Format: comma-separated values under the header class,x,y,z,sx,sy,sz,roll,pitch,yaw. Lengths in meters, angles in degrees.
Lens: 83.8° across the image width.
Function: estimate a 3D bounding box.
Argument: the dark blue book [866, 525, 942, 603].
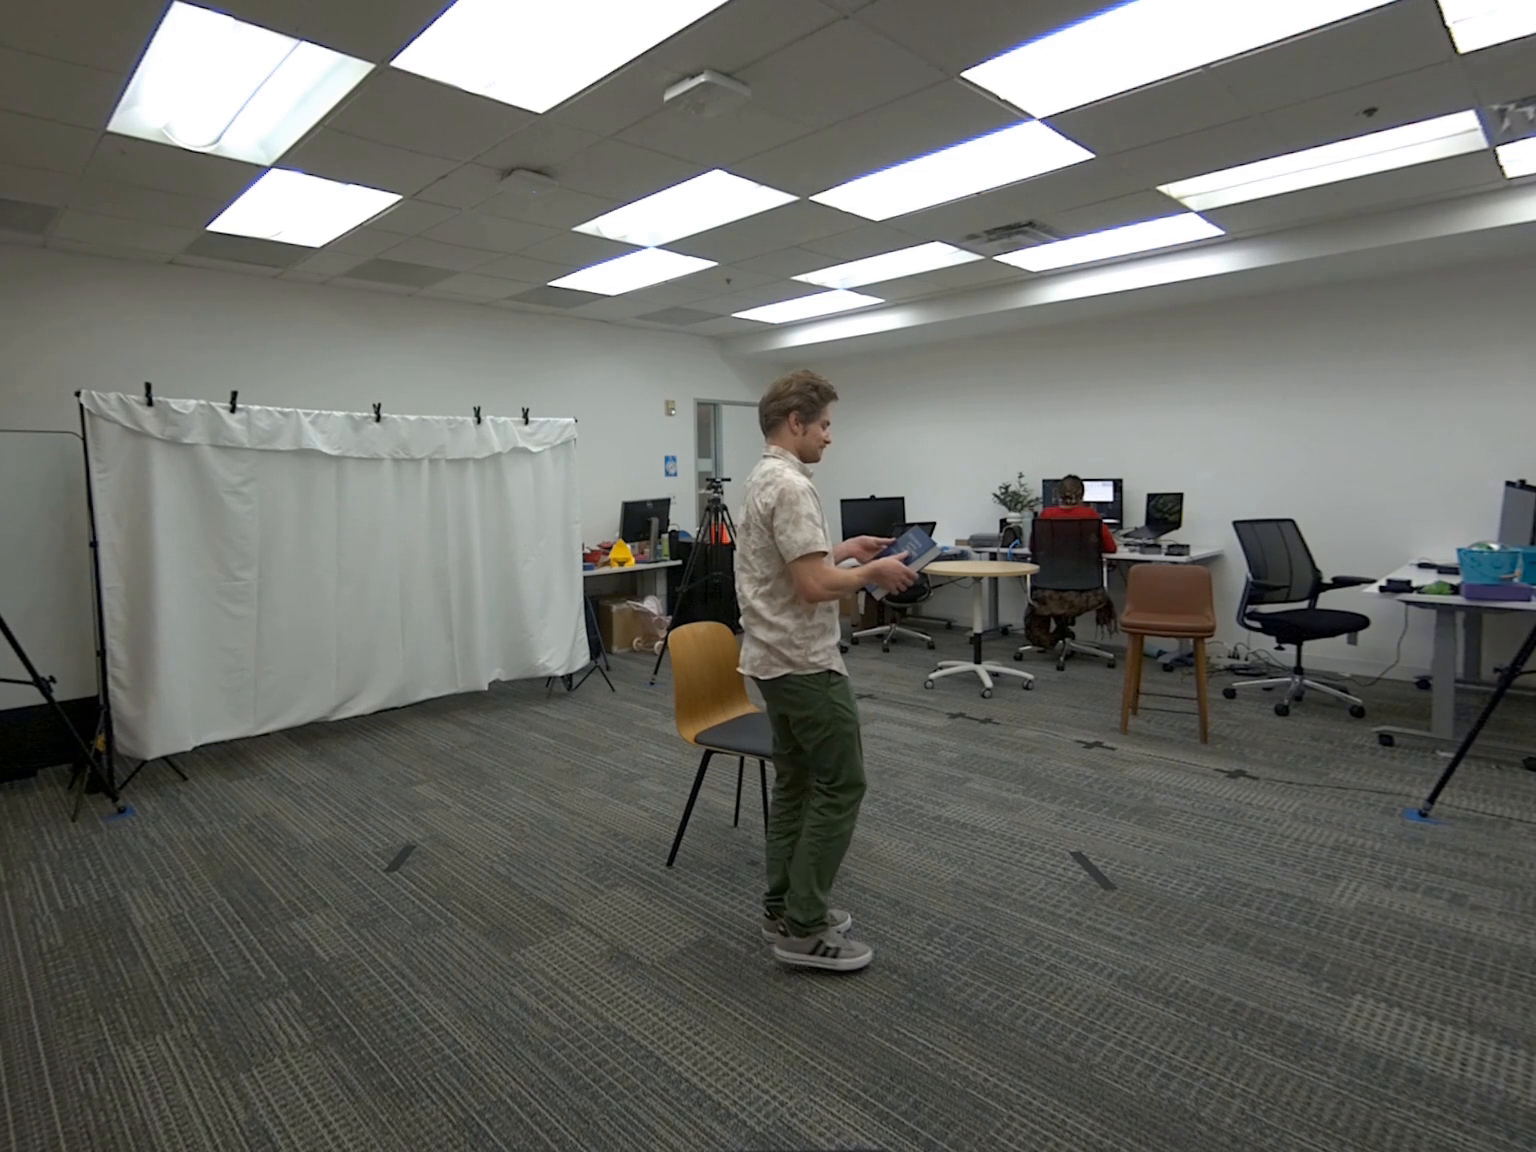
class,x,y,z,sx,sy,sz,roll,pitch,yaw
dark blue book,0.397,-0.040,2.583,0.245,0.044,0.168,-37,26,4
